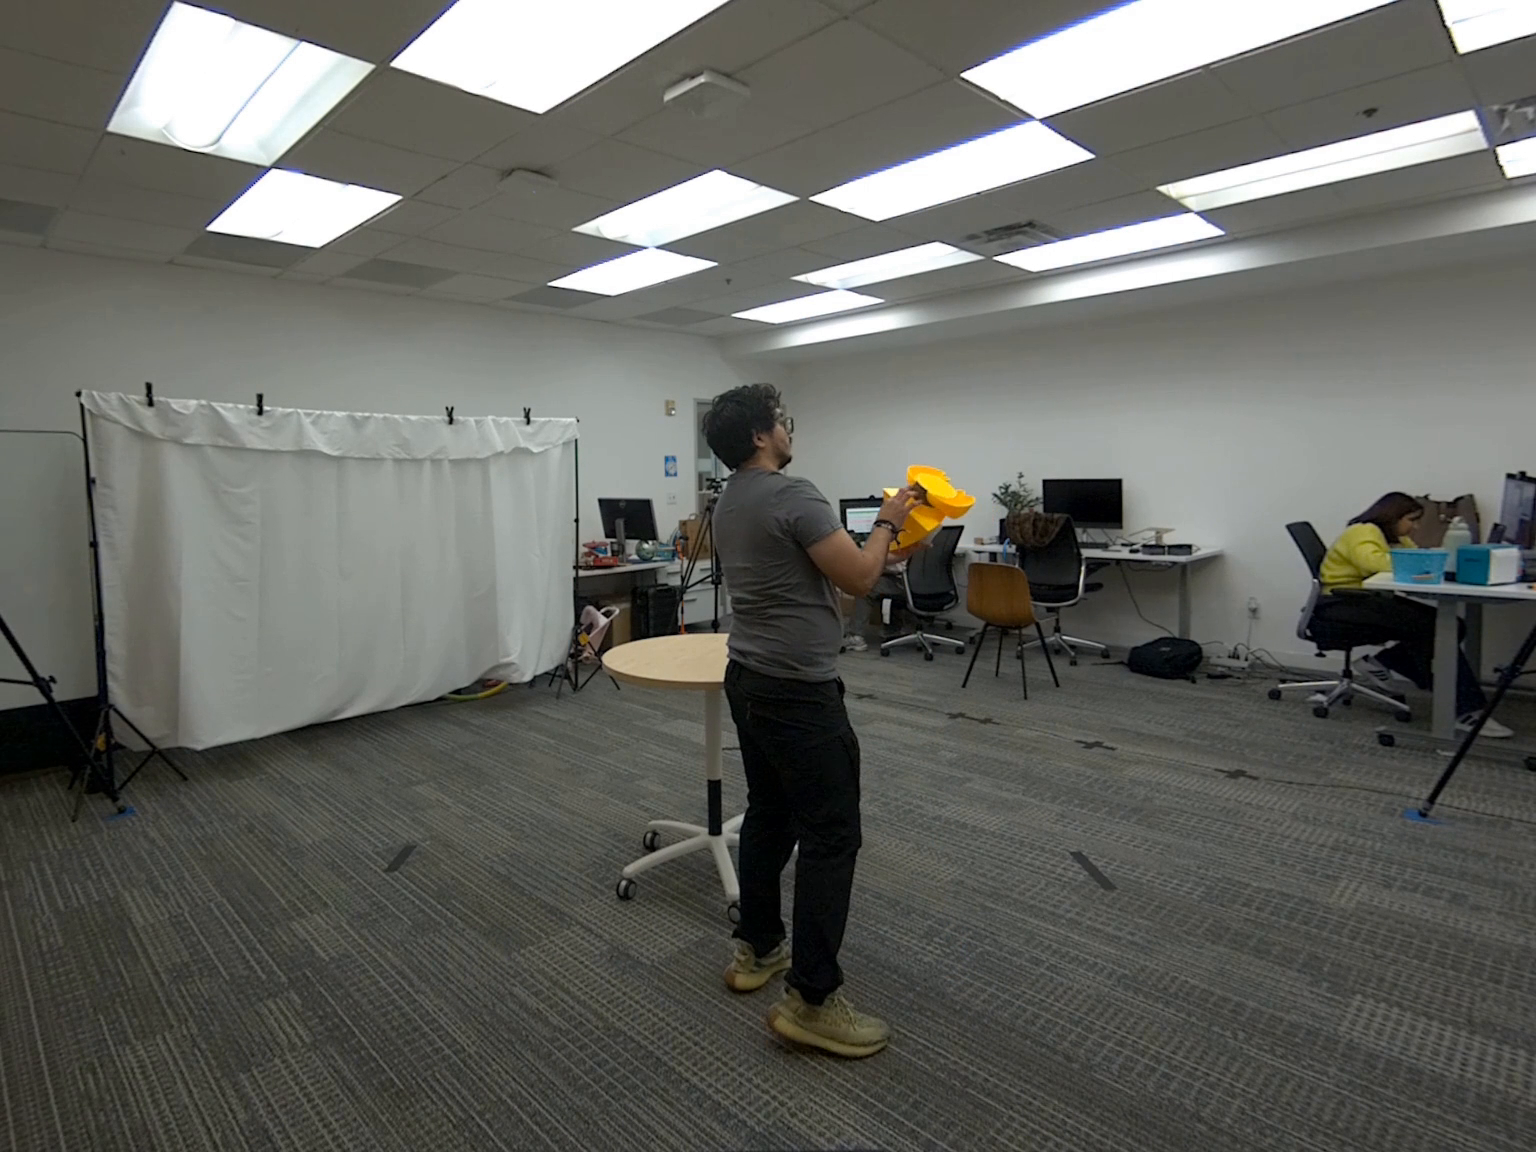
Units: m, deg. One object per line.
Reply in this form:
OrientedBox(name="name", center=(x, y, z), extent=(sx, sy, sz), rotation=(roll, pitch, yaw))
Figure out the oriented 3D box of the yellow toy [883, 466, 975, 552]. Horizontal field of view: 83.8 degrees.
OrientedBox(name="yellow toy", center=(0.454, -0.164, 2.463), extent=(0.188, 0.228, 0.213), rotation=(-4, 41, -36))
